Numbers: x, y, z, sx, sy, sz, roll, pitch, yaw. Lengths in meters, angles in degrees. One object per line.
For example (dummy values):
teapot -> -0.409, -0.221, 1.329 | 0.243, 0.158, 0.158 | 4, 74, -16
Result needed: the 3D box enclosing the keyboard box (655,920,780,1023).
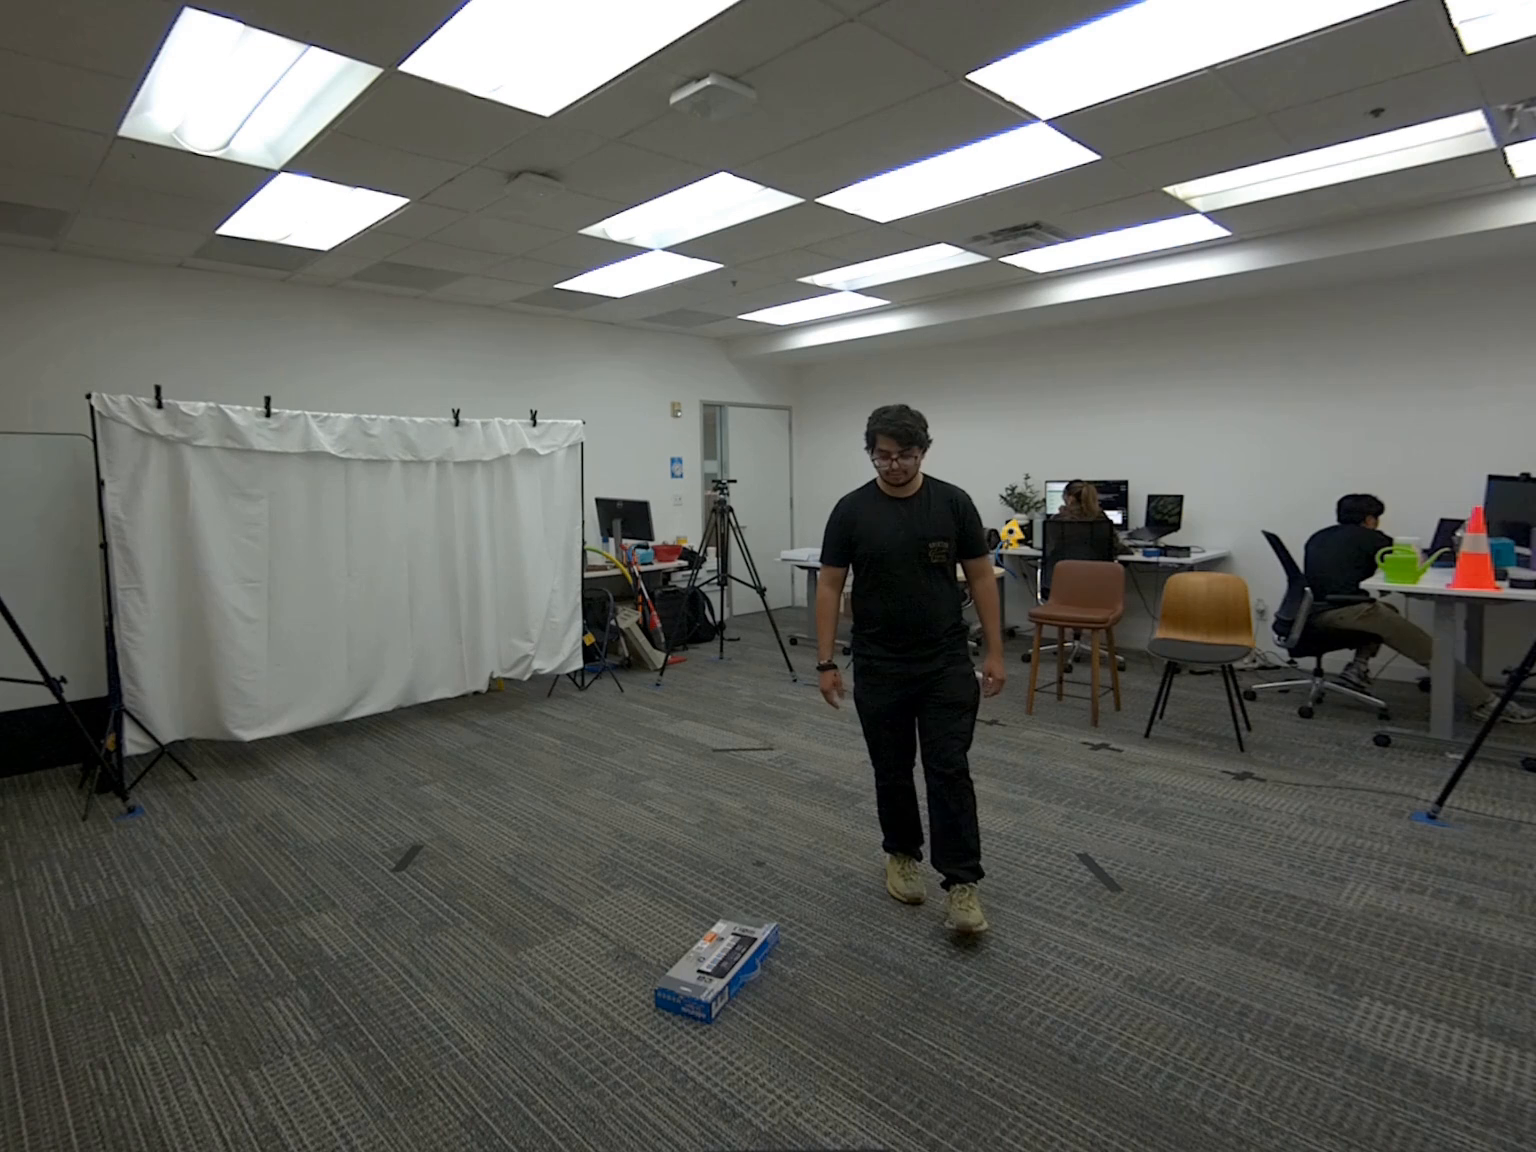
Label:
keyboard box -> -0.133, 1.098, 2.428 | 0.180, 0.059, 0.428 | 1, 7, 26
